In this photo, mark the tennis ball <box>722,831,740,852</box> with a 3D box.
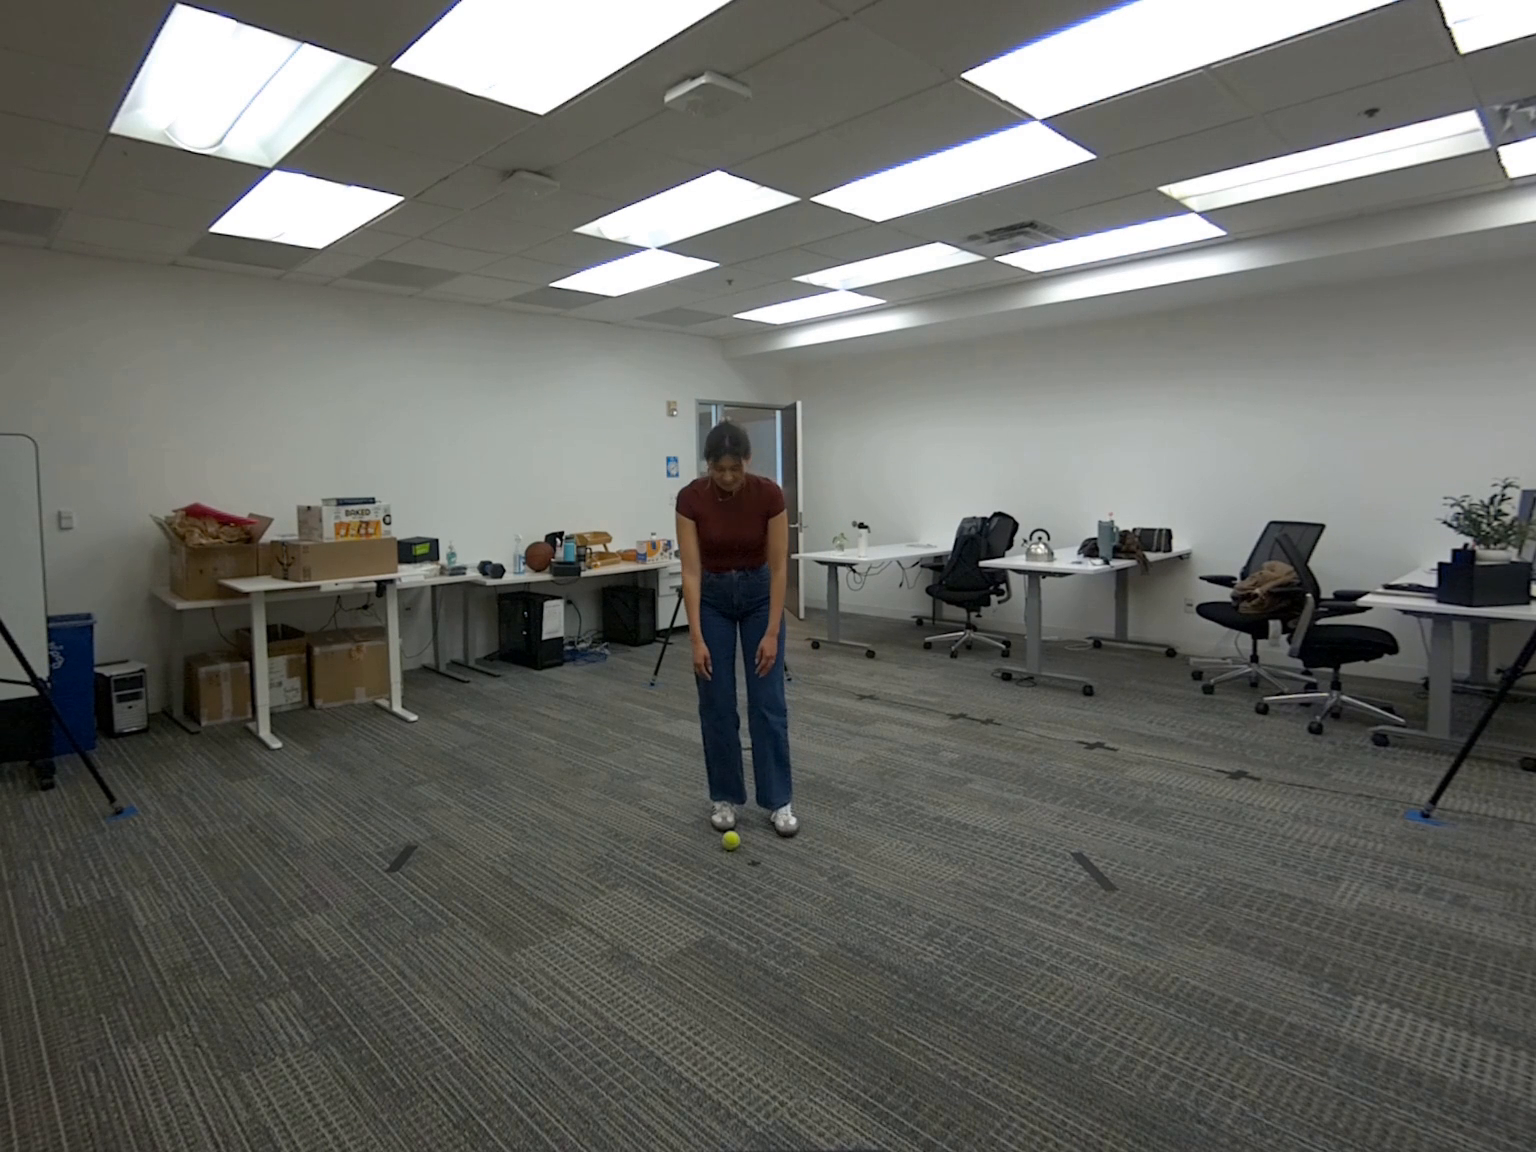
[{"bbox_3d":[-0.141,0.986,3.216,0.066,0.066,0.067,-1,5,-2],"label":"tennis ball"}]
